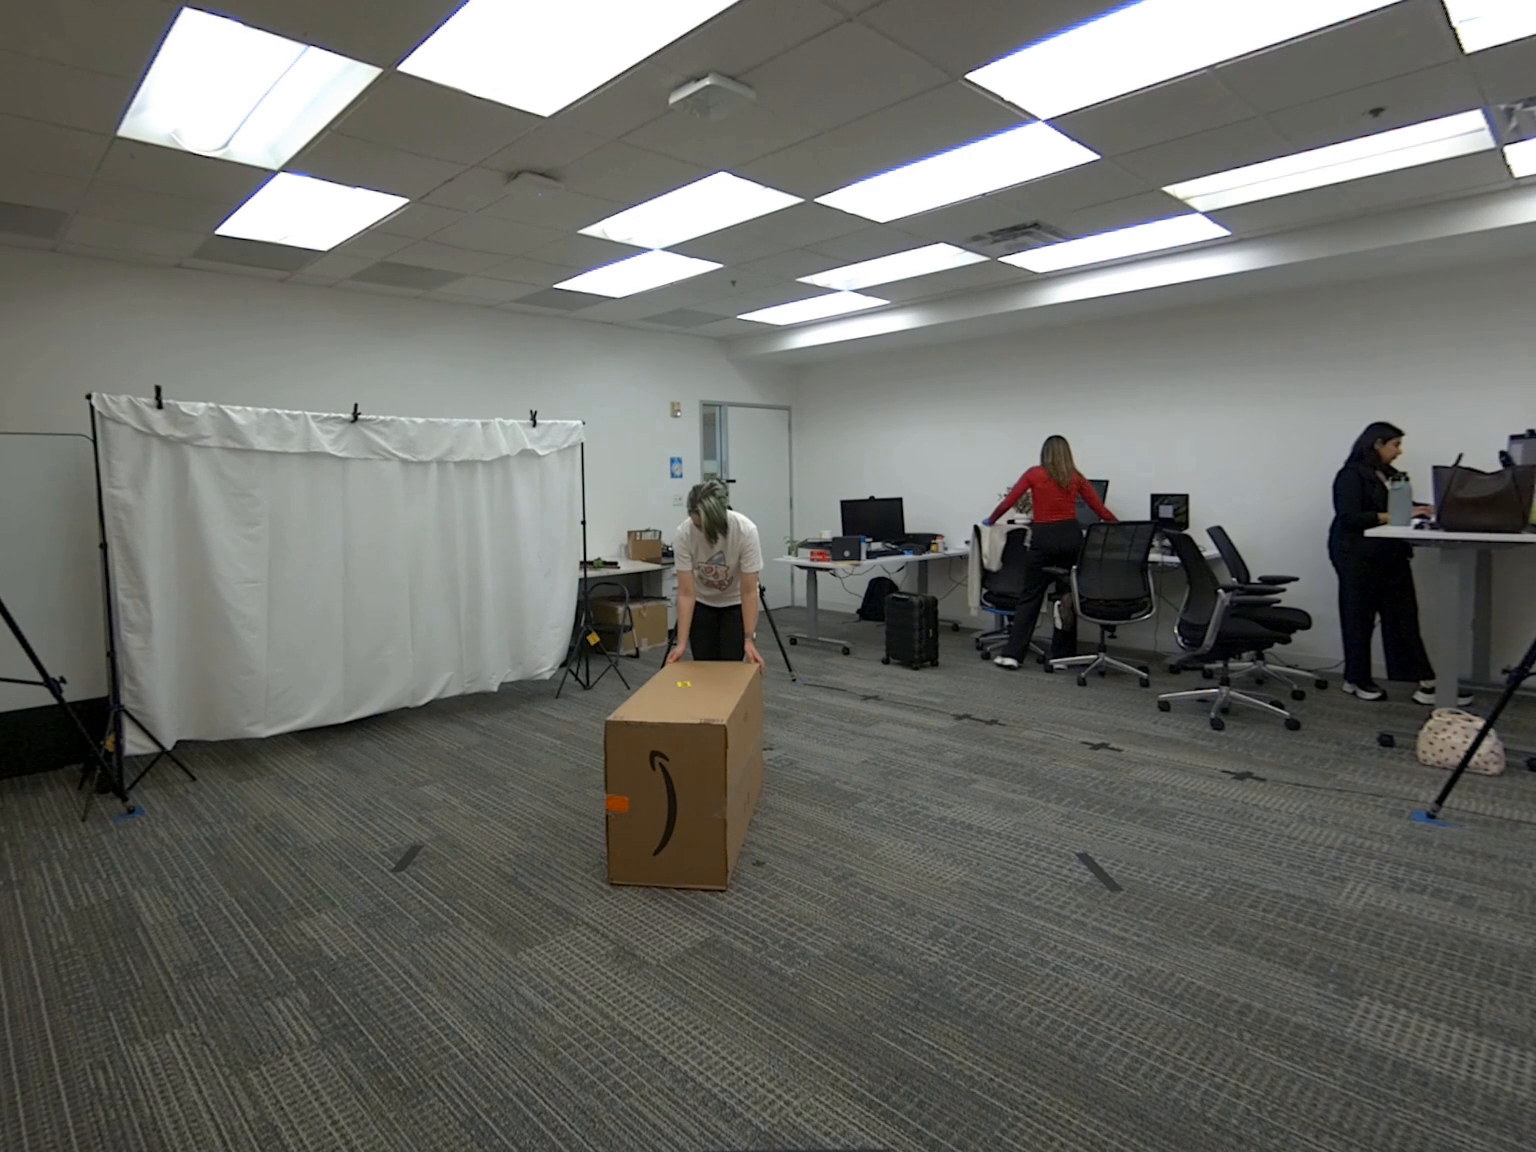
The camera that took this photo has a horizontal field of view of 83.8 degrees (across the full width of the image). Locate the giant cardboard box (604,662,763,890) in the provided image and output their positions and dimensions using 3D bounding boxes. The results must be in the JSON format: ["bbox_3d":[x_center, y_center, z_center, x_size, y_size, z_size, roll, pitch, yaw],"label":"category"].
[{"bbox_3d":[-0.302,0.731,3.420,0.450,0.582,1.023,-1,5,7],"label":"giant cardboard box"}]
